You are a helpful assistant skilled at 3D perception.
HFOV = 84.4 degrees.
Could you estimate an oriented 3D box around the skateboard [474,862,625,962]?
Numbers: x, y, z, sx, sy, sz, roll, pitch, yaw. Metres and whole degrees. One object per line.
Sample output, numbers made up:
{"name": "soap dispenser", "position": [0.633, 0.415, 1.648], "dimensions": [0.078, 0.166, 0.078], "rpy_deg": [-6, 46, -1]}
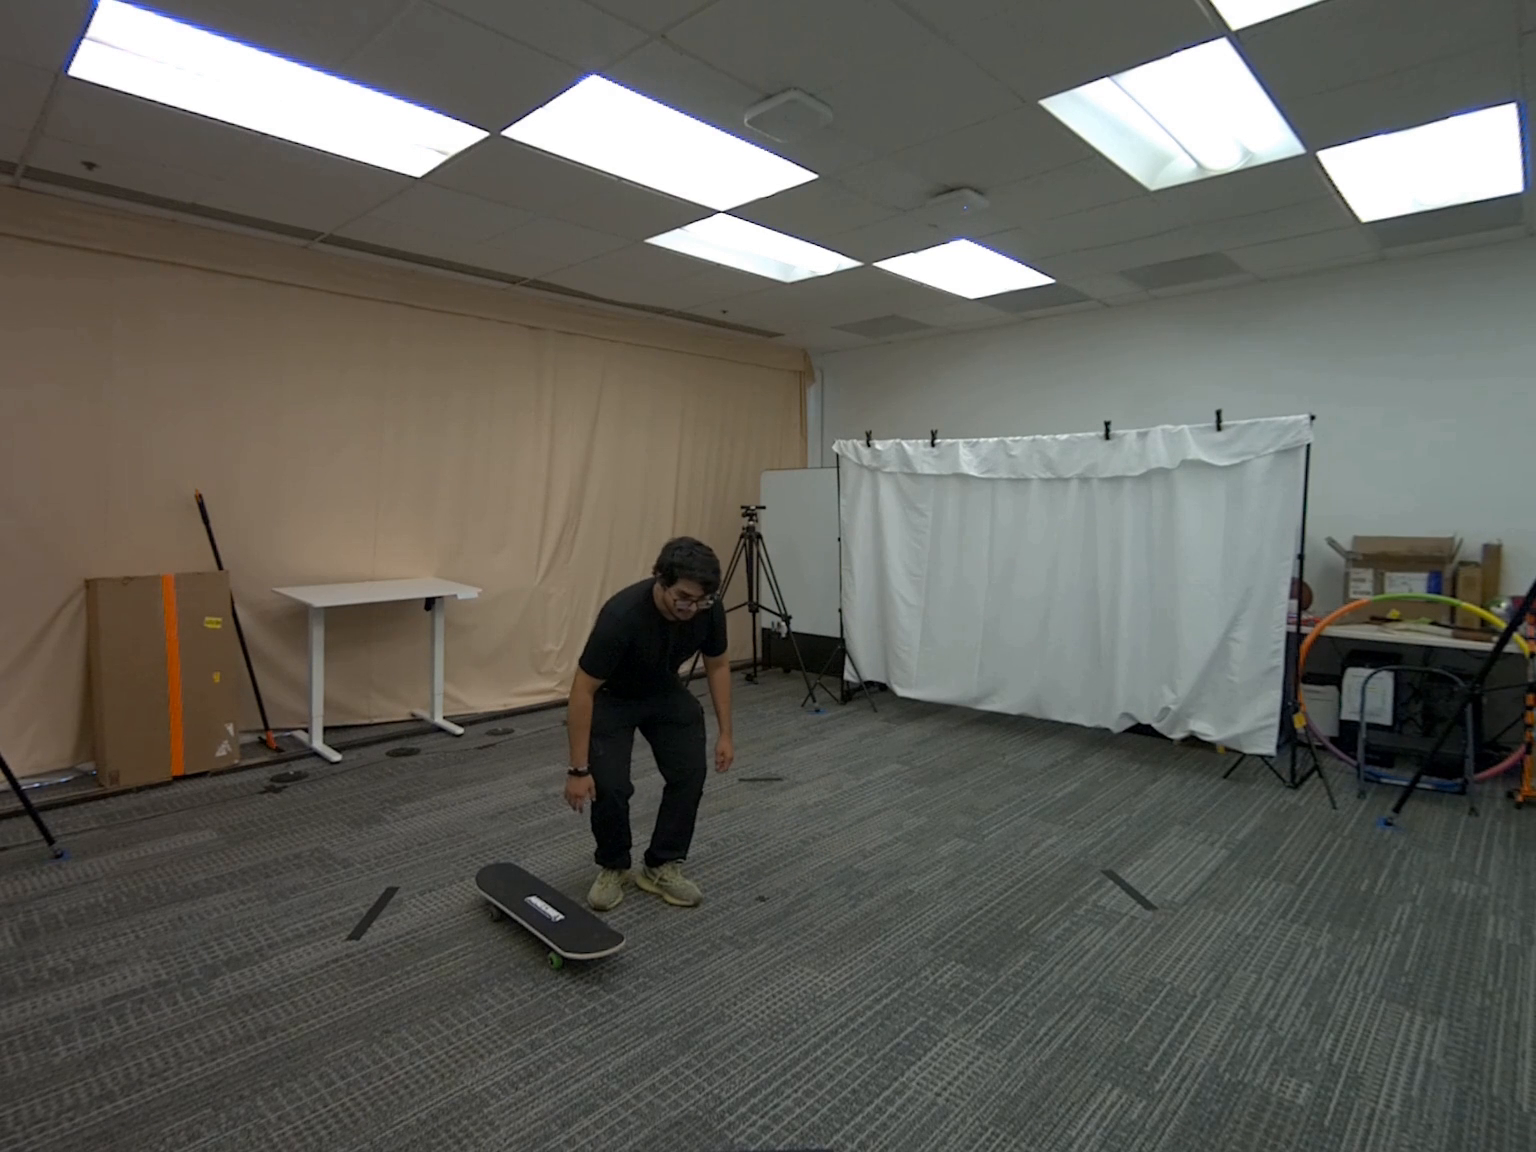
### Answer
{"name": "skateboard", "position": [-0.730, 1.116, 2.736], "dimensions": [0.187, 0.110, 0.812], "rpy_deg": [-5, 6, -43]}
